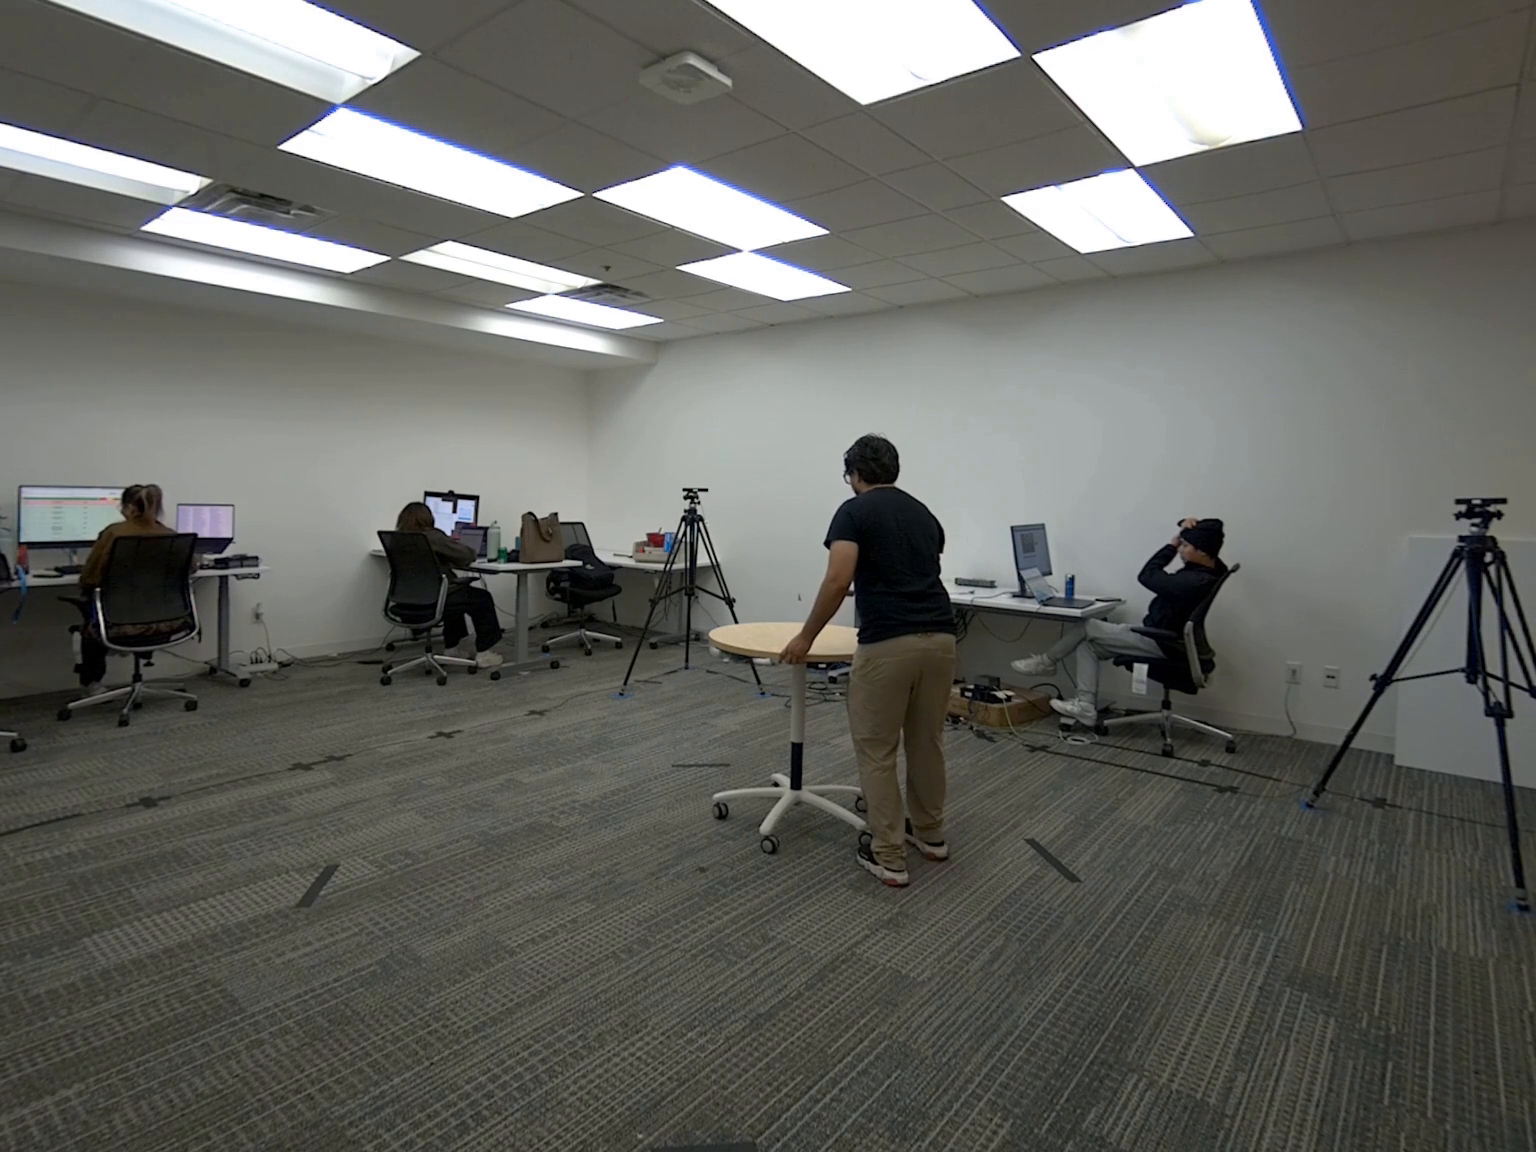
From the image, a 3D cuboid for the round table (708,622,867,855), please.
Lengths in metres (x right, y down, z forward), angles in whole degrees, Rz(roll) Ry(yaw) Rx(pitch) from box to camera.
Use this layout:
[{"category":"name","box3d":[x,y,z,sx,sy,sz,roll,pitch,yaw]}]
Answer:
[{"category":"round table","box3d":[0.101,0.638,3.567,0.784,0.784,0.789,1,4,-2]}]
